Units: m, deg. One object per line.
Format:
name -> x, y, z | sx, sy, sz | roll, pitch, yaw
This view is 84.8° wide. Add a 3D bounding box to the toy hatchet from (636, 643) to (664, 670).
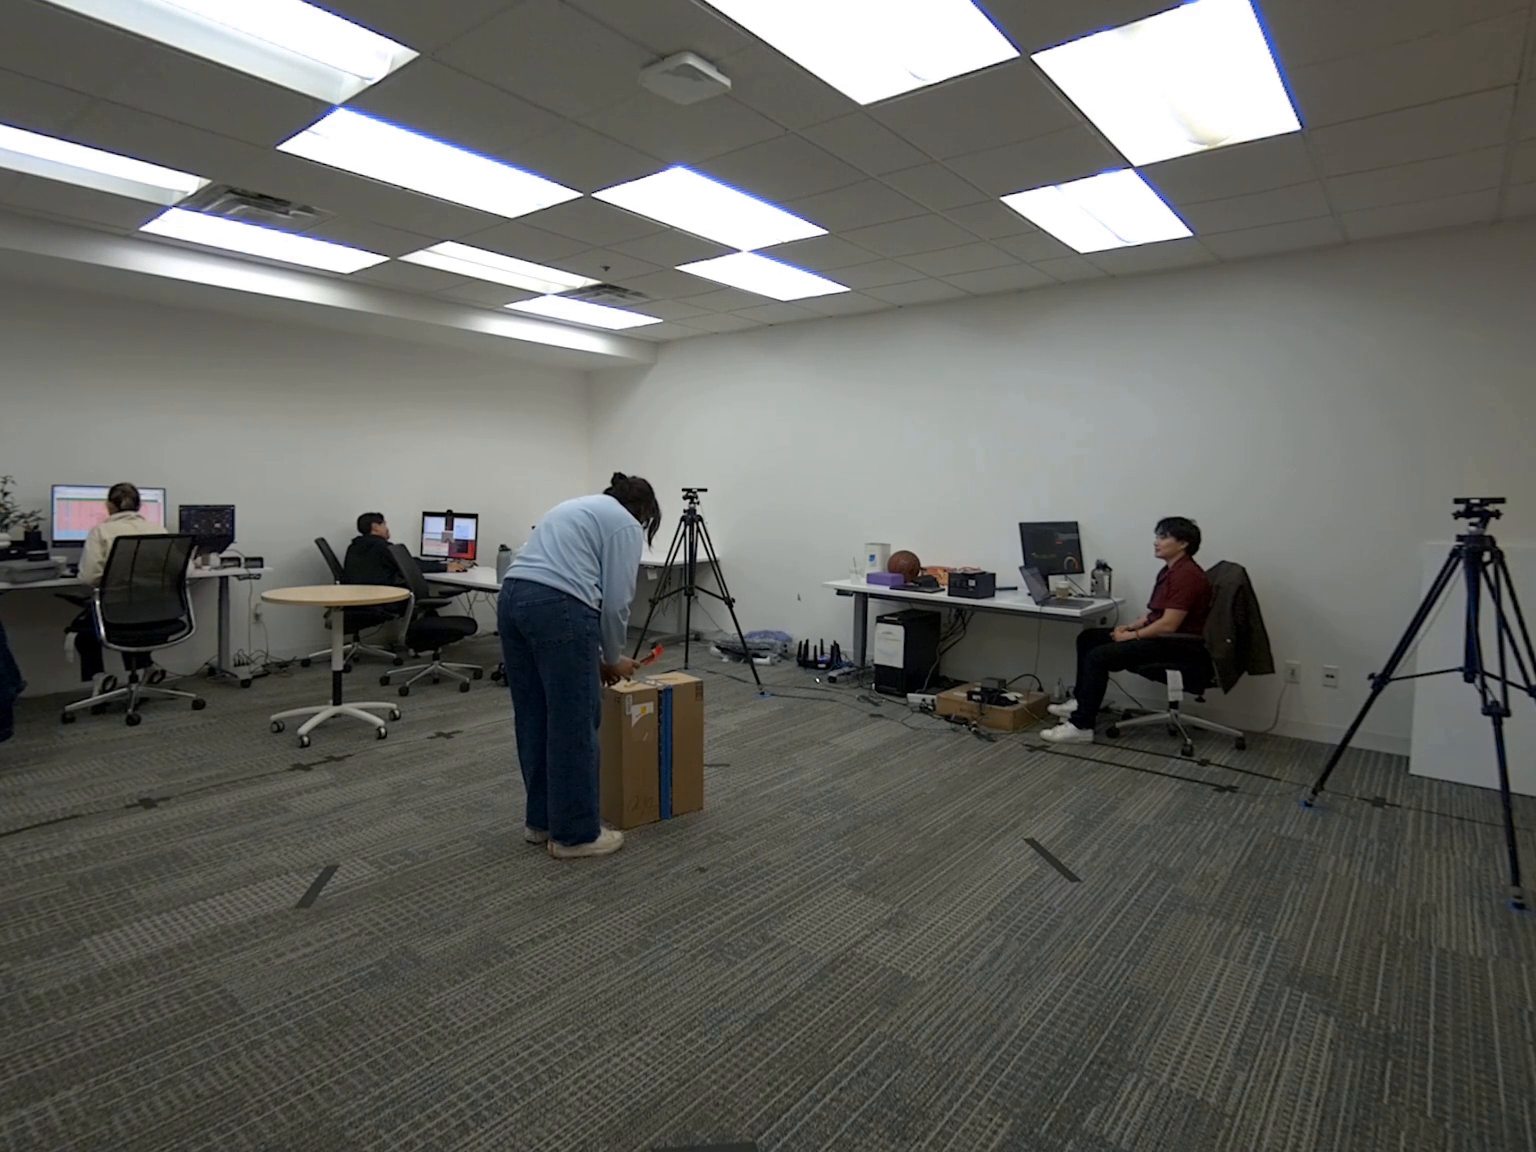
toy hatchet -> -0.560, 0.371, 3.501 | 0.269, 0.030, 0.128 | -31, -18, -12
